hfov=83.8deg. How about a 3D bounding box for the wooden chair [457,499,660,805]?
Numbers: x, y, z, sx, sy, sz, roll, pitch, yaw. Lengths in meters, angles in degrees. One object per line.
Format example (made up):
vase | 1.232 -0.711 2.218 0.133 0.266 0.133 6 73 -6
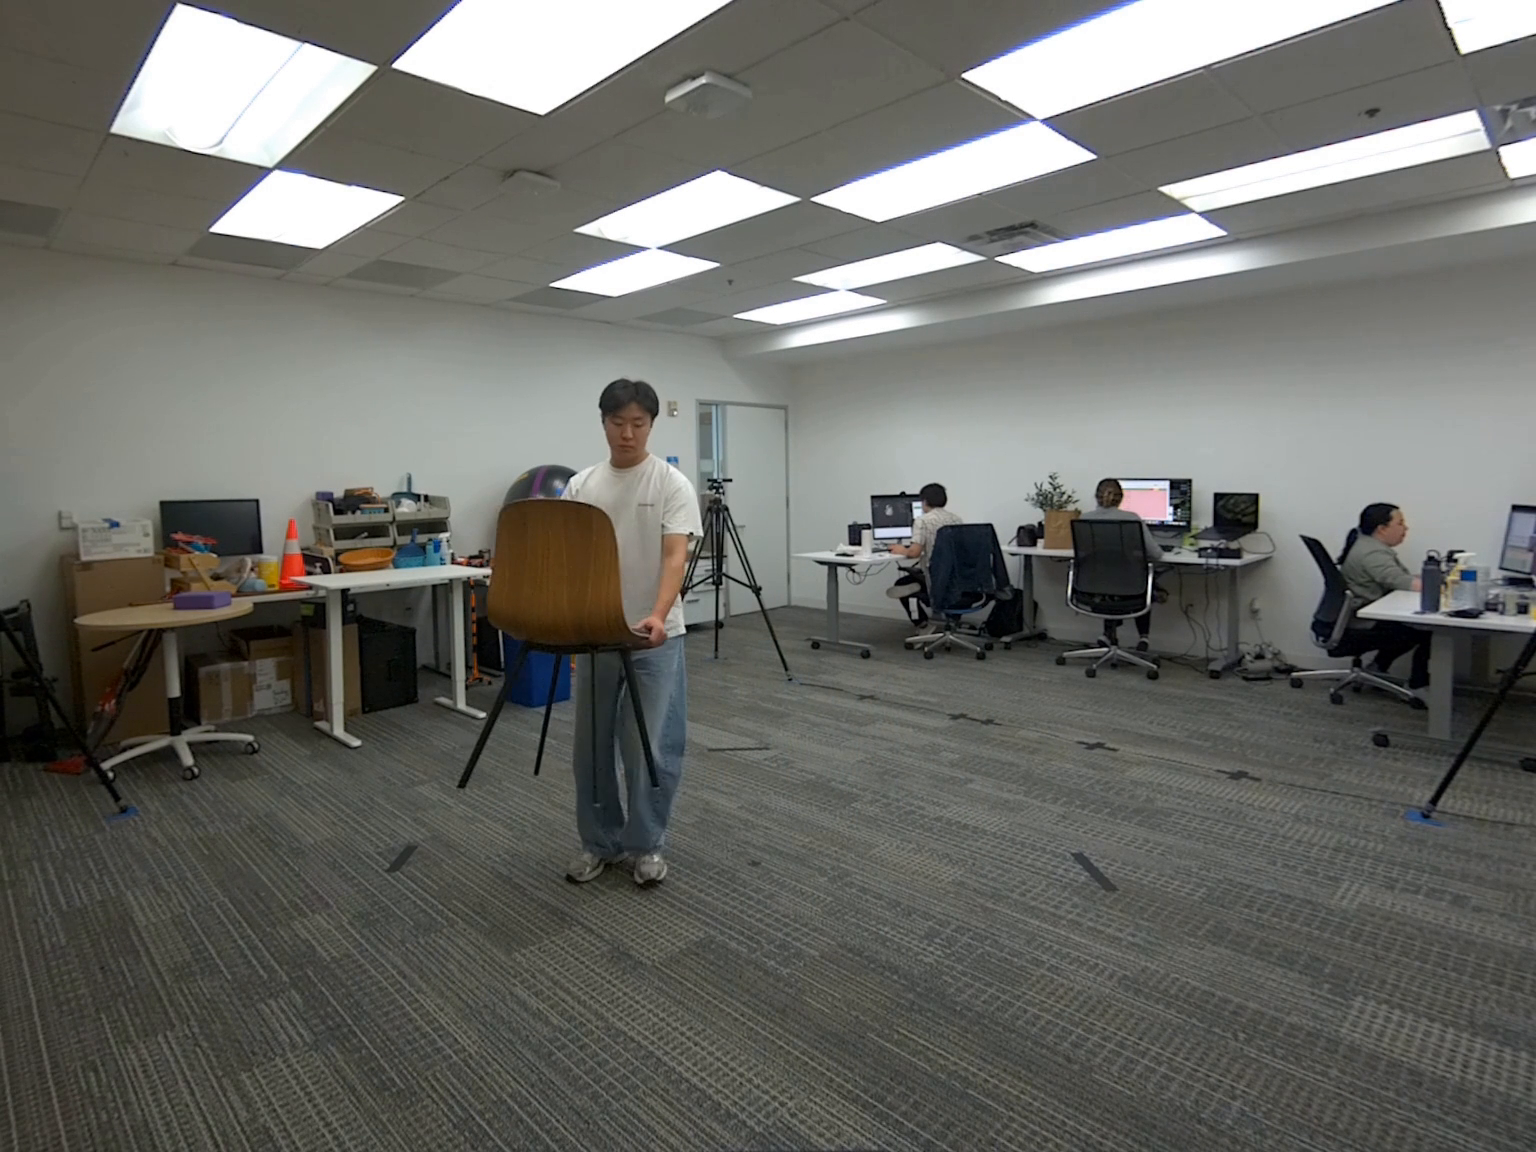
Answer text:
wooden chair | -0.592 0.233 2.680 0.486 0.881 0.512 1 -5 17
